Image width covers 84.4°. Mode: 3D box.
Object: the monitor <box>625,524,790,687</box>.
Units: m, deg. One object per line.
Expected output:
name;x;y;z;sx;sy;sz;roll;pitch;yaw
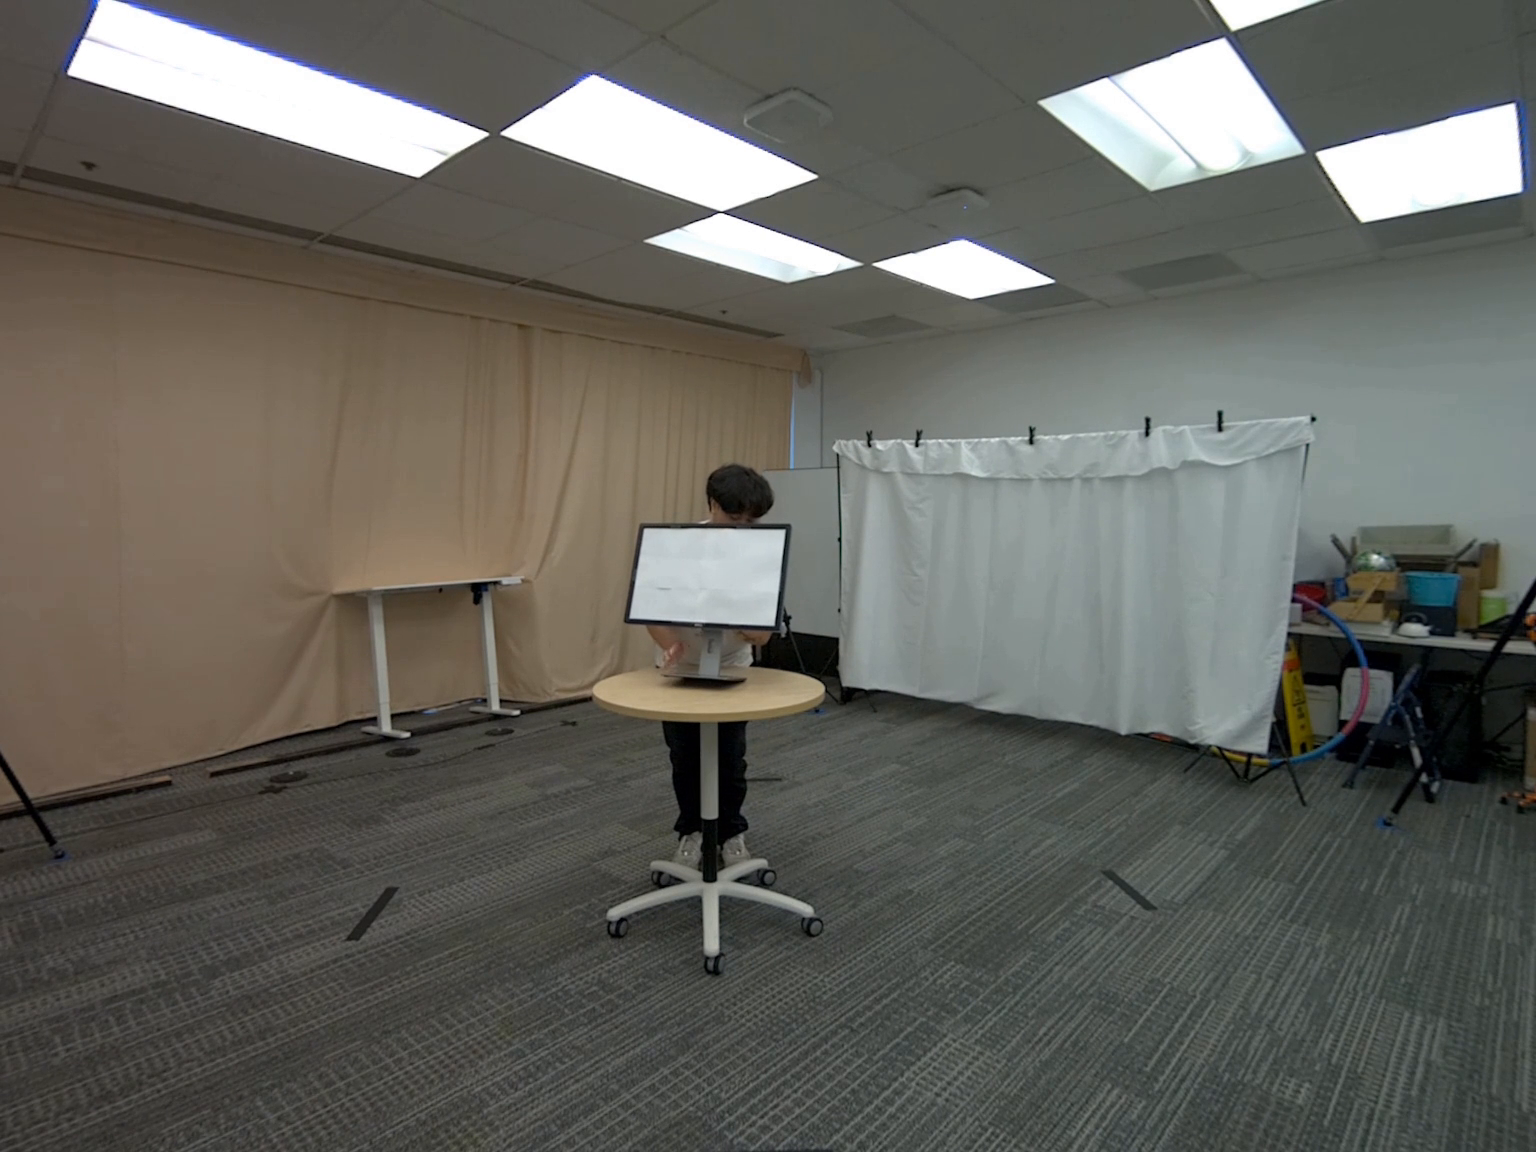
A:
monitor;-0.190;0.097;2.885;0.578;0.557;0.204;1;-12;21
